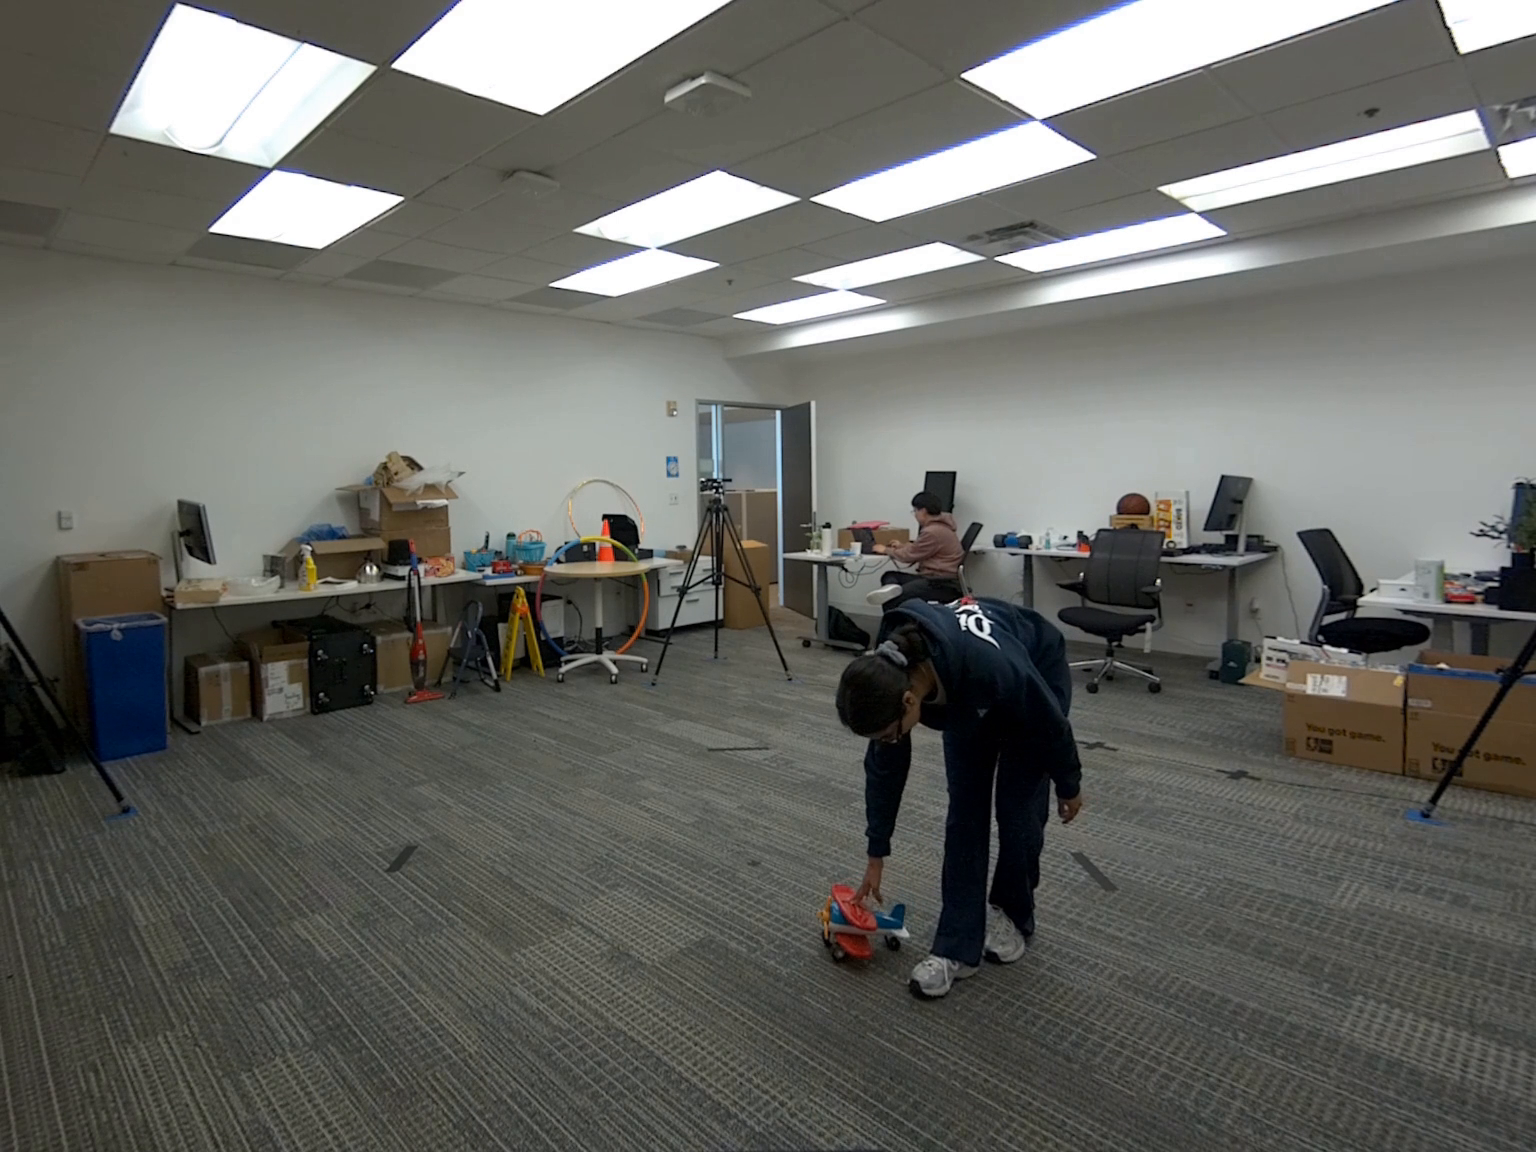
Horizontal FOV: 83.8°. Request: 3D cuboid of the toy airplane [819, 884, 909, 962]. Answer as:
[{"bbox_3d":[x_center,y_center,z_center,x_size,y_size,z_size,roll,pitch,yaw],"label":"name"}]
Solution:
[{"bbox_3d":[0.278,1.032,2.537,0.253,0.155,0.259,-6,9,-37],"label":"toy airplane"}]
